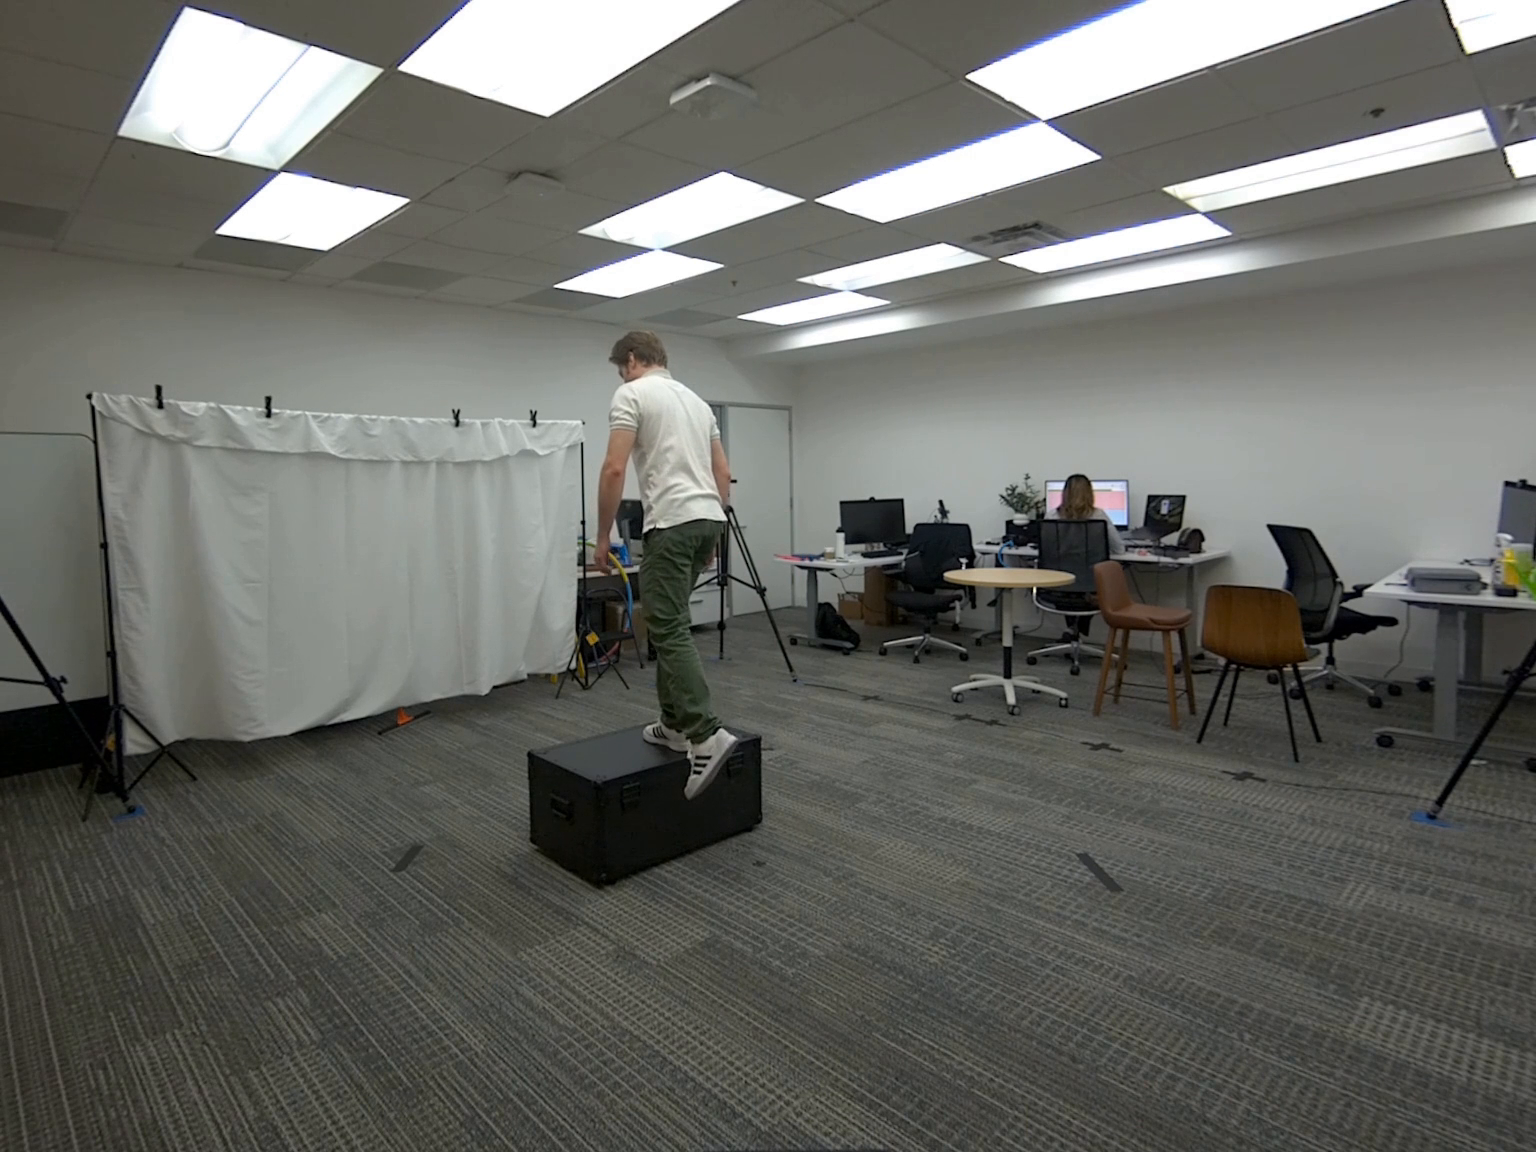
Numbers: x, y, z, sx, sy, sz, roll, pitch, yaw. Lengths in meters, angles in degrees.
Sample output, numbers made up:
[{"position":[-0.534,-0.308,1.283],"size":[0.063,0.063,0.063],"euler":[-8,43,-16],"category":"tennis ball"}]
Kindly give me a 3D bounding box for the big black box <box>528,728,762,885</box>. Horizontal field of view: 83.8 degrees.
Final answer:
[{"position":[-0.442,0.837,3.362],"size":[0.839,0.394,0.537],"euler":[-7,8,-43],"category":"big black box"}]
